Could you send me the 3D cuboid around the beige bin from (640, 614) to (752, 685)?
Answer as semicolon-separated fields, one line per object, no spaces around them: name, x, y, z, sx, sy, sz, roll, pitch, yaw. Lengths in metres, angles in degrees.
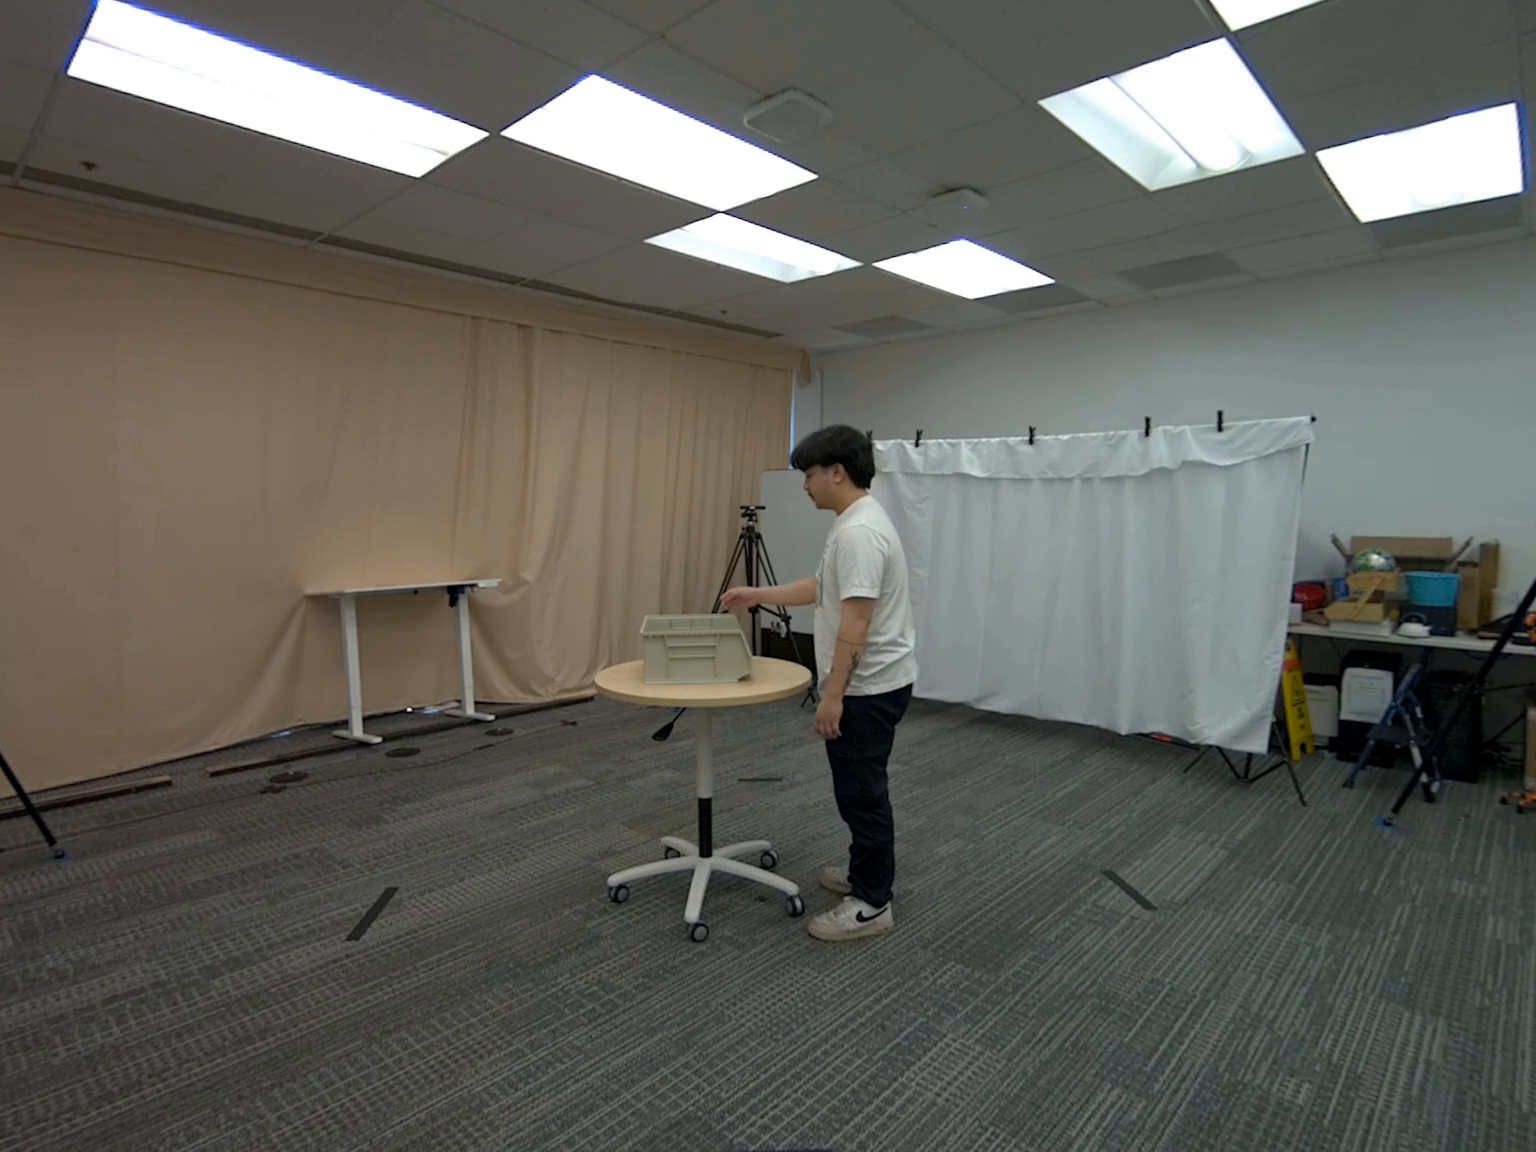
beige bin;-0.248;0.265;3.033;0.377;0.188;0.424;-1;5;-2
